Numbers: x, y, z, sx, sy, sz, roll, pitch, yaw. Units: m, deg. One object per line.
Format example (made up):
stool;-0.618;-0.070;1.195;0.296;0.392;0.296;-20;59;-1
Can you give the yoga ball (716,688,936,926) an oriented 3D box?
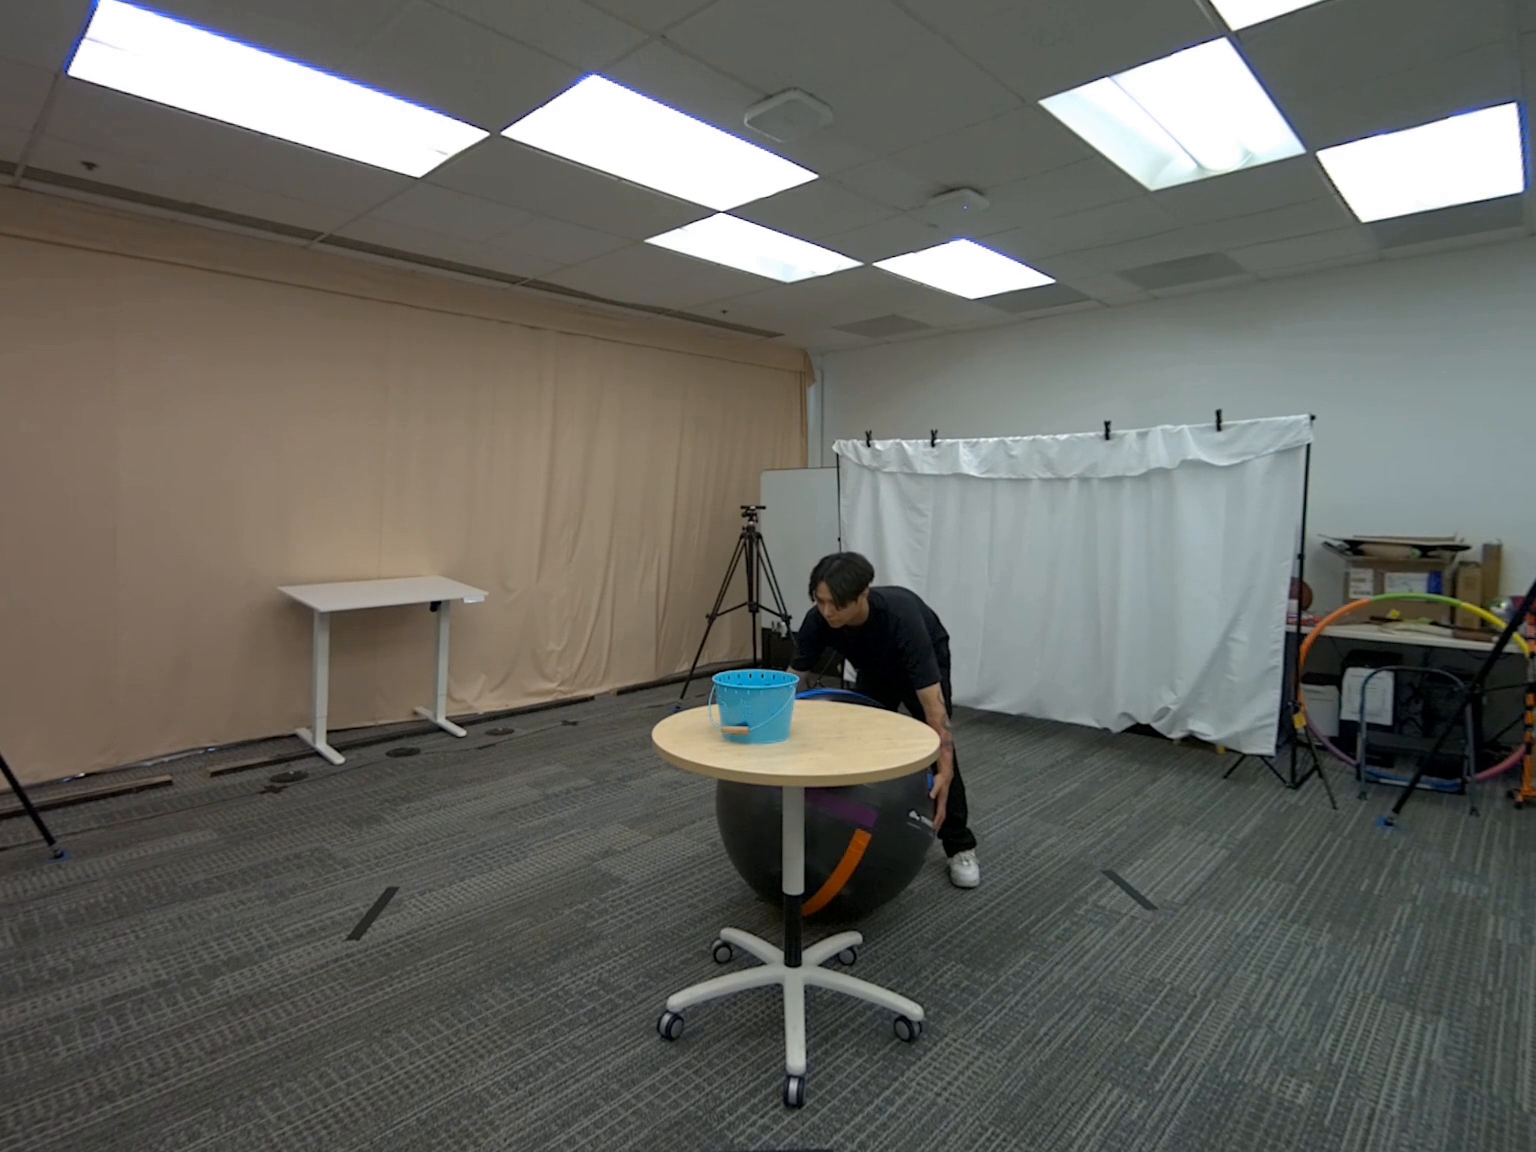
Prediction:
yoga ball;0.195;0.786;2.903;0.757;0.756;0.760;0;4;-2
